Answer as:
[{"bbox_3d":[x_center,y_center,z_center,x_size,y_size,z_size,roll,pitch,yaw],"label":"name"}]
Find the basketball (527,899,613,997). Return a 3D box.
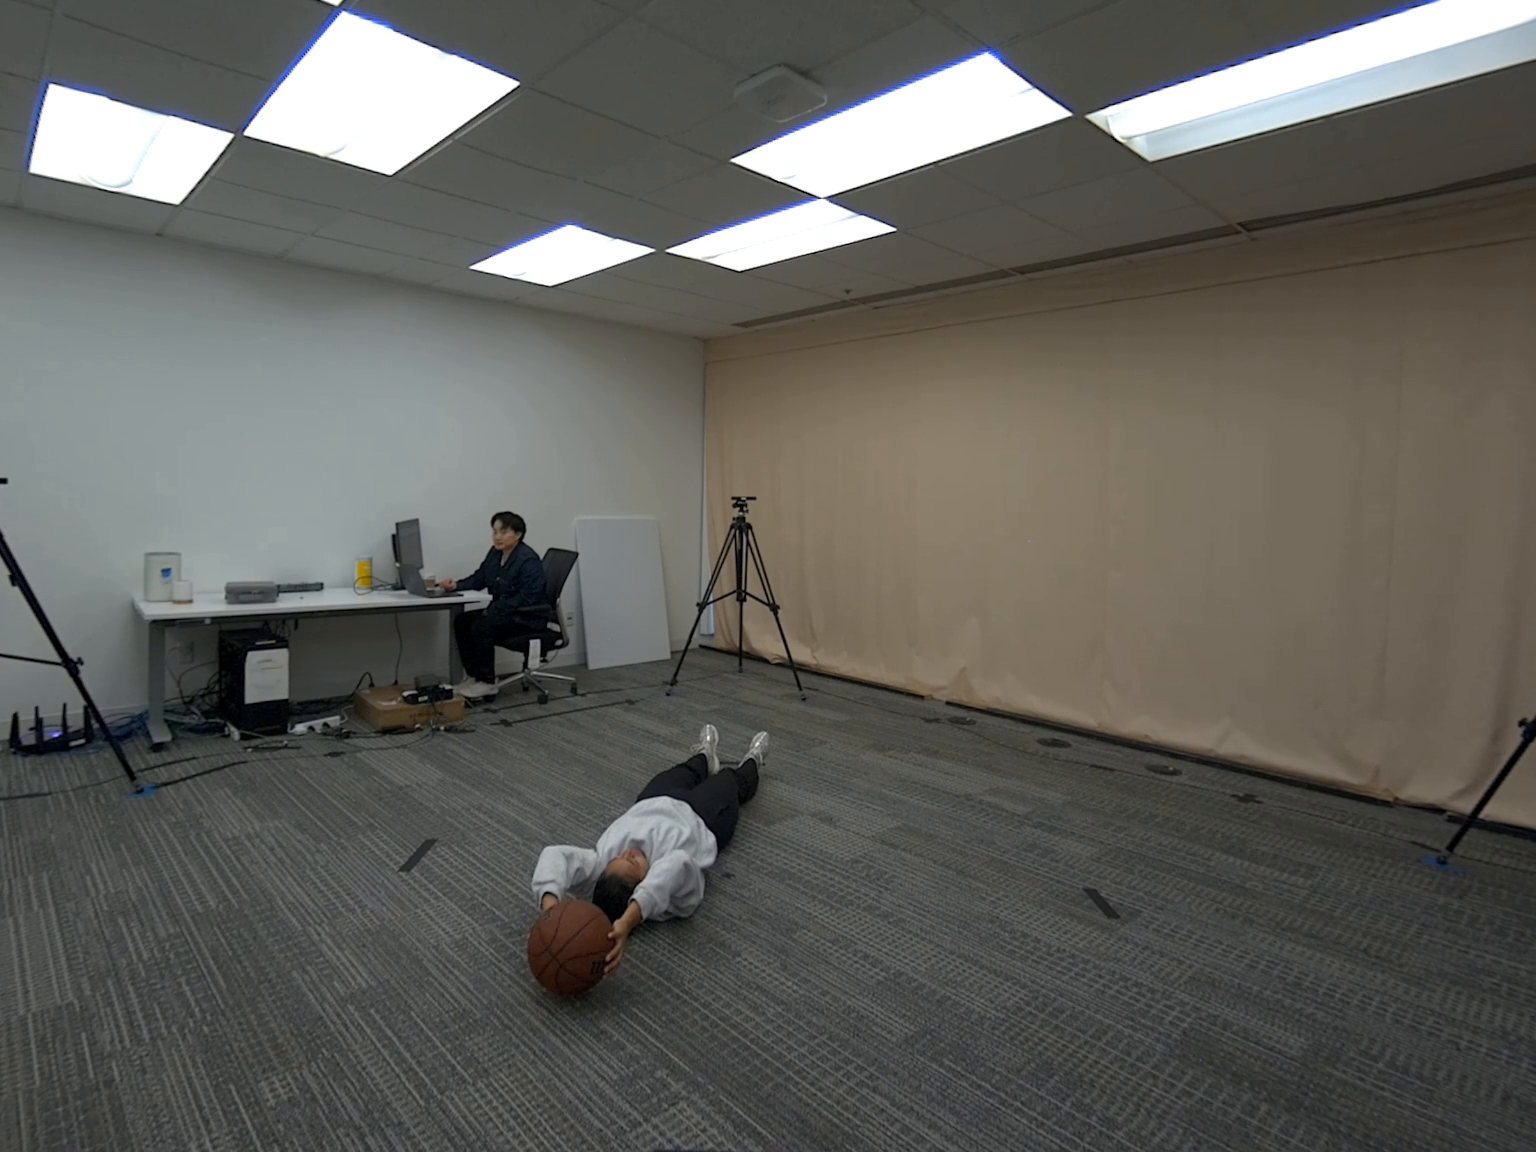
[{"bbox_3d":[-0.545,1.022,2.324,0.236,0.235,0.237,1,5,-1],"label":"basketball"}]
